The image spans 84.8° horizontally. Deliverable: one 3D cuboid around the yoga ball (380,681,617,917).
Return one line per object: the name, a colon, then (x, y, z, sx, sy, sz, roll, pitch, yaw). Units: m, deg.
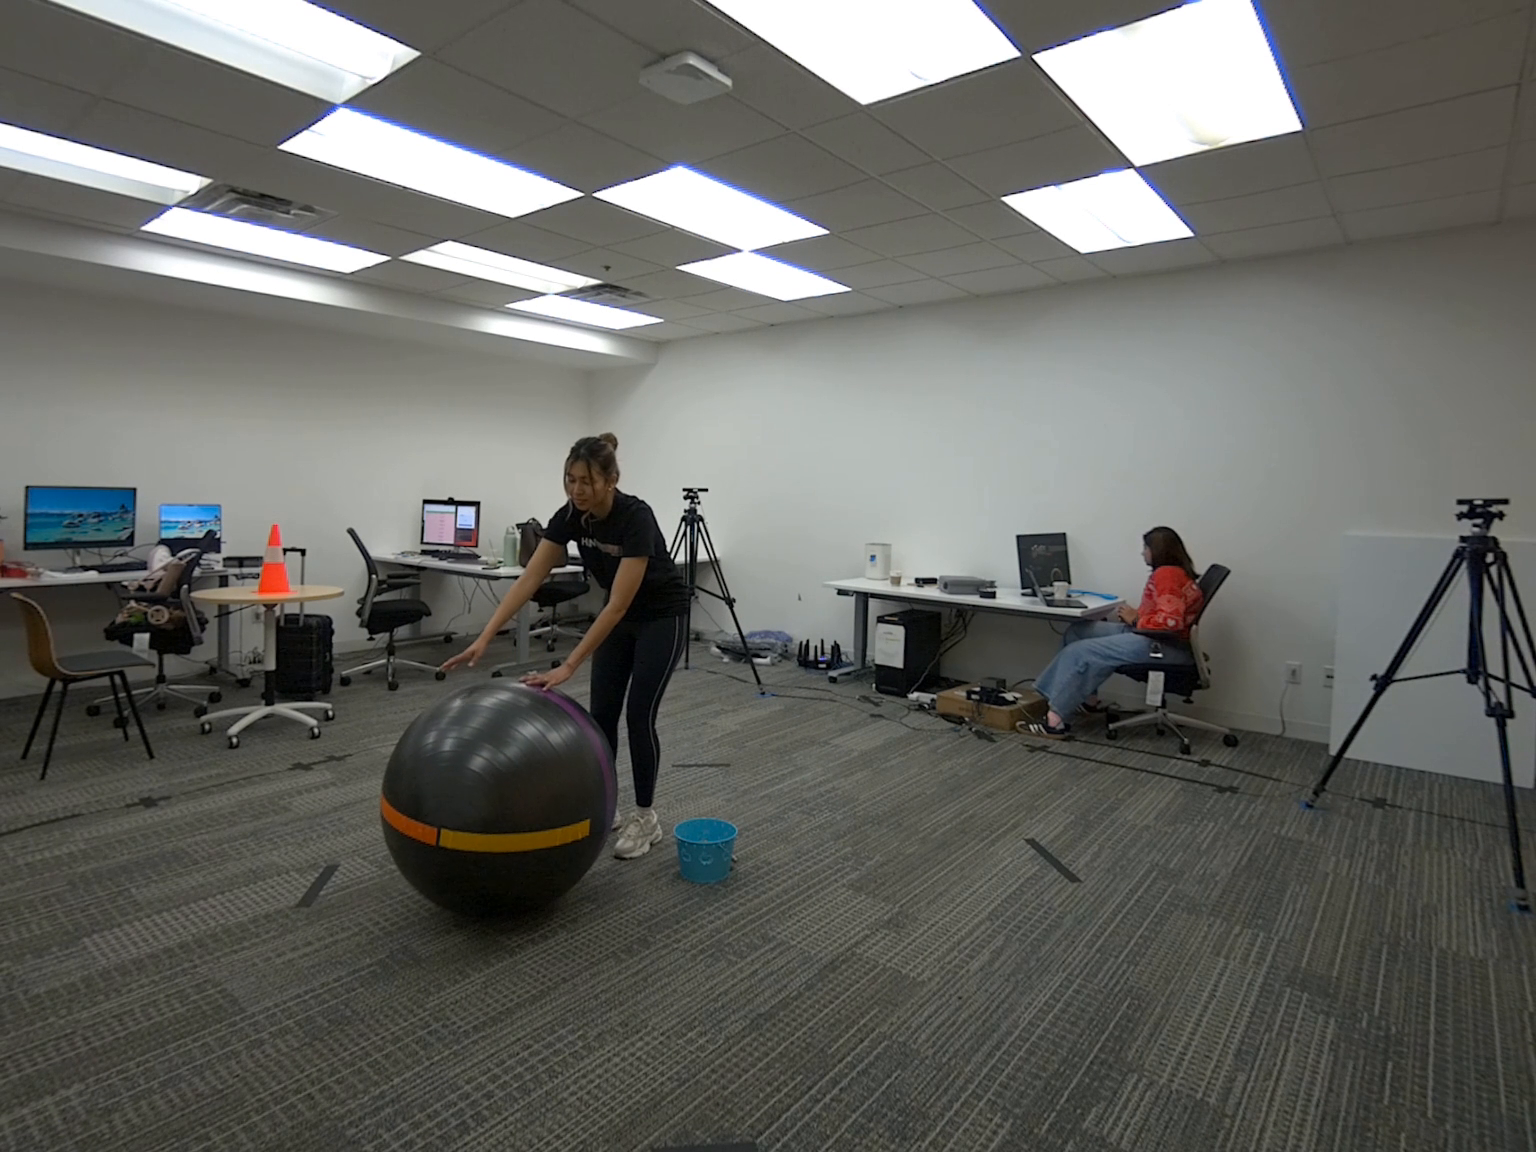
yoga ball: (-0.891, 0.723, 2.808, 0.757, 0.755, 0.762, 1, 4, -2)
